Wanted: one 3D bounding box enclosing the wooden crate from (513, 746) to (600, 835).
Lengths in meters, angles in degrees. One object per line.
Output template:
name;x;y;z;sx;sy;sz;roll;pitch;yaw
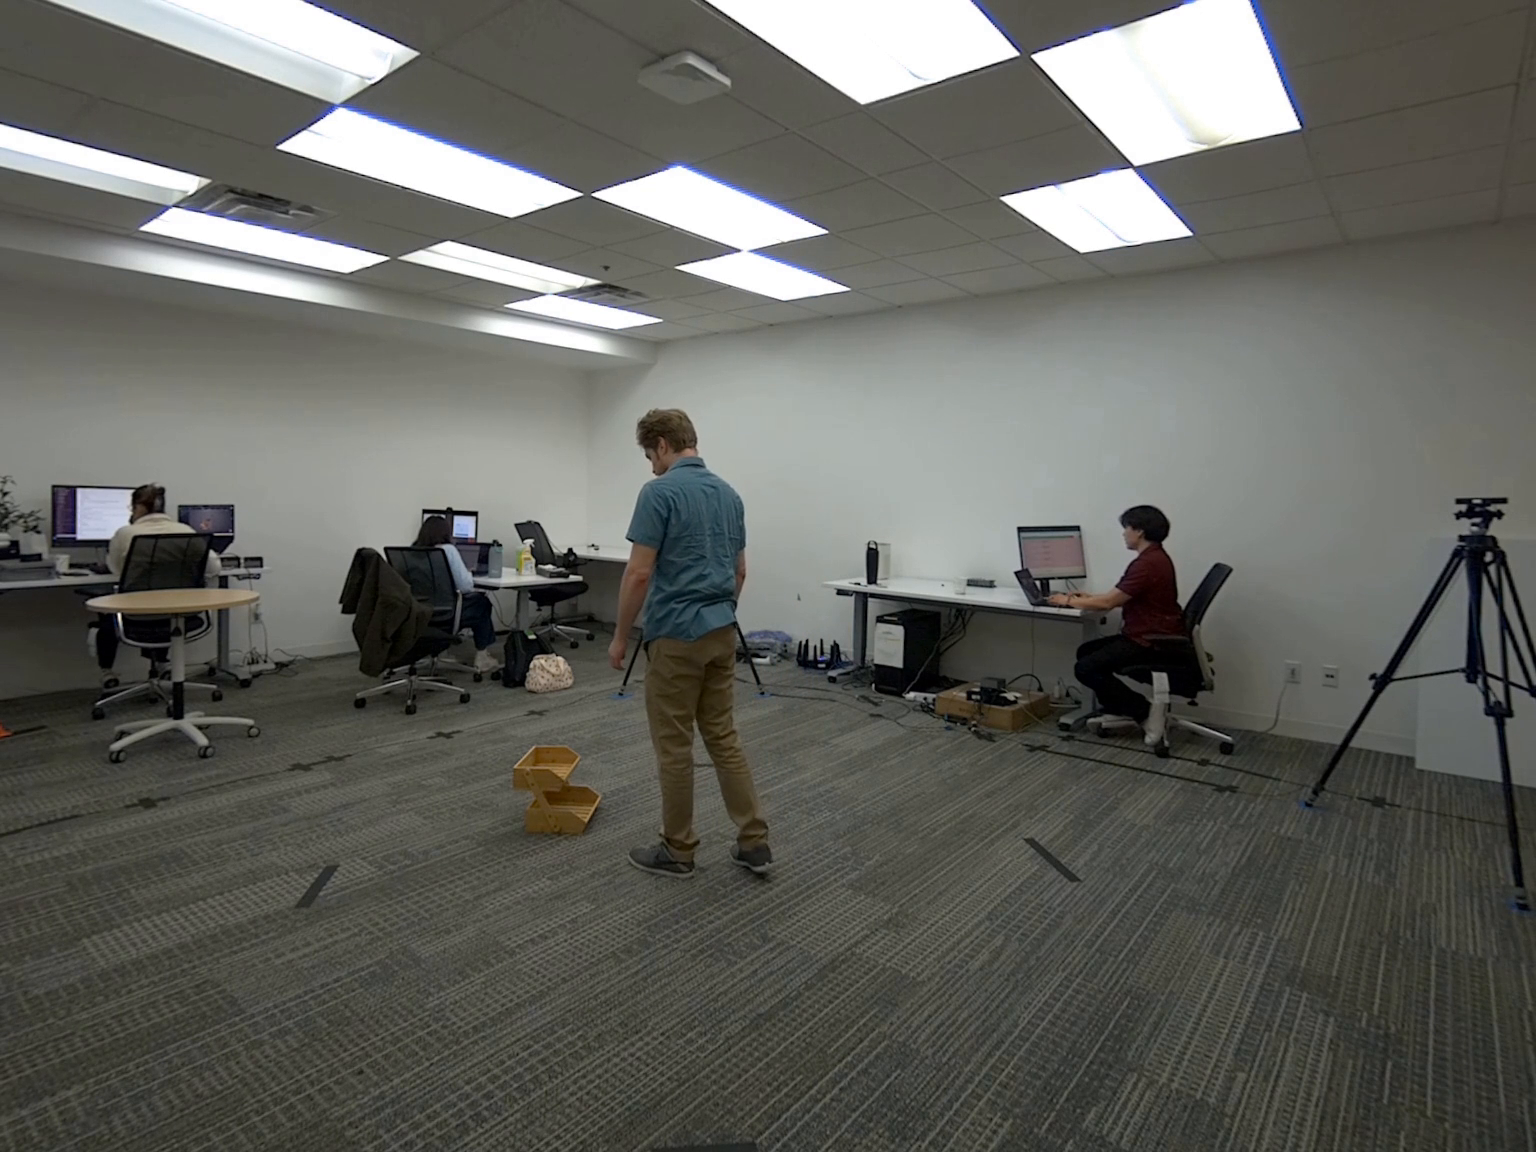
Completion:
wooden crate;-0.883;0.879;3.564;0.303;0.272;0.325;1;4;1
